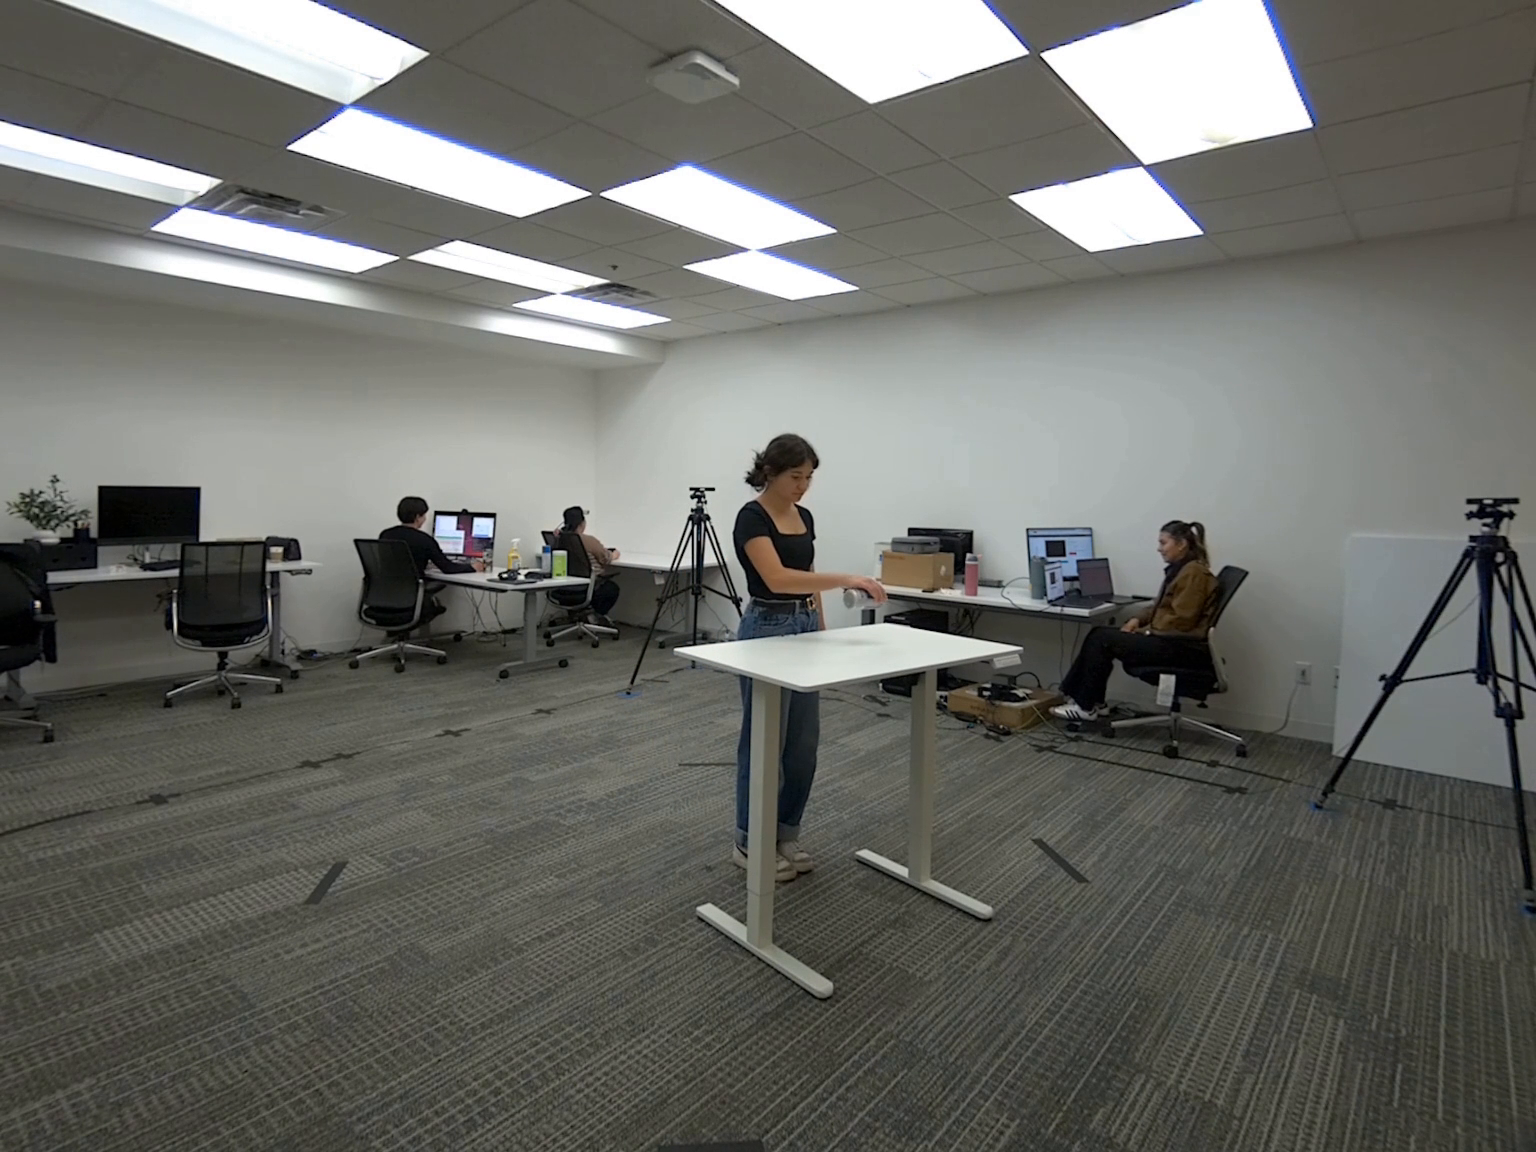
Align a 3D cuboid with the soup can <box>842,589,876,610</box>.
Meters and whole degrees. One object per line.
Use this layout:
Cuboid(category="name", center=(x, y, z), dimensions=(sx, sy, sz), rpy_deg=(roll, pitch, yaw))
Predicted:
Cuboid(category="soup can", center=(0.305, 0.087, 2.825), dimensions=(0.121, 0.067, 0.067), rpy_deg=(38, 3, -1))
